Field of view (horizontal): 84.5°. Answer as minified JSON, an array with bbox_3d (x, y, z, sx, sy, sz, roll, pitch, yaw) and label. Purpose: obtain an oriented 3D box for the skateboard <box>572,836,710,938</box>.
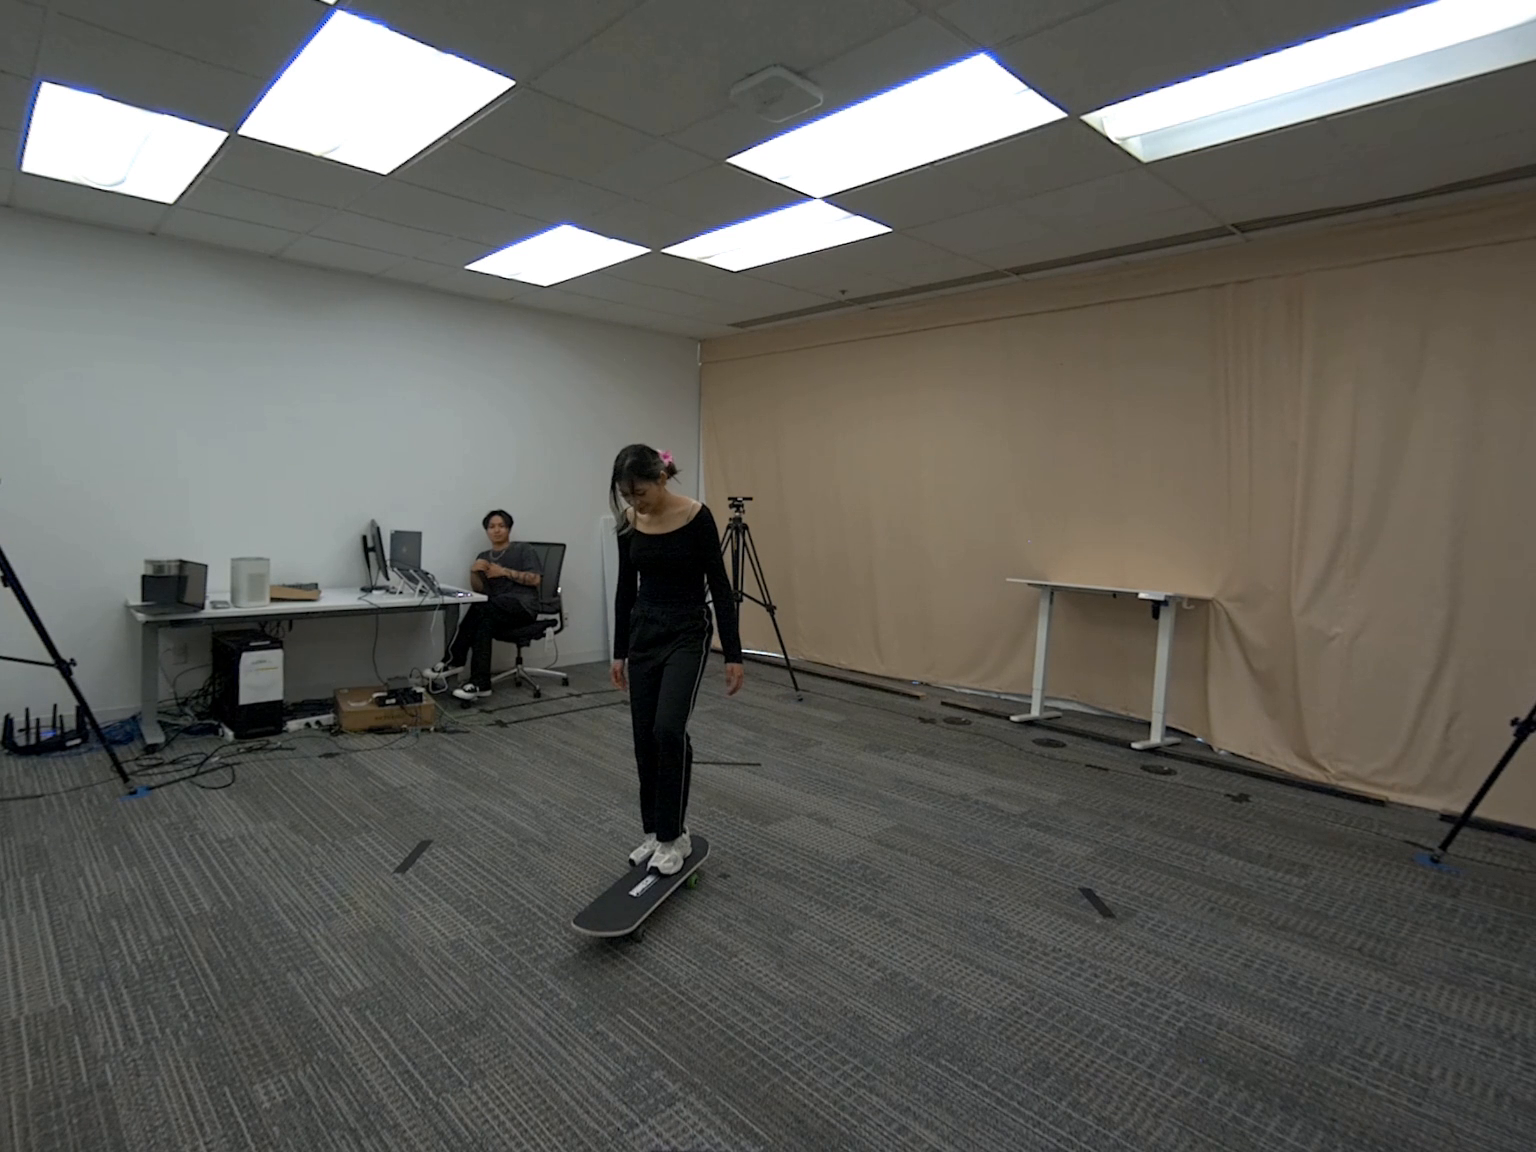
[{"bbox_3d":[-0.424,1.071,2.847,0.196,0.110,0.775,4,5,19],"label":"skateboard"}]
